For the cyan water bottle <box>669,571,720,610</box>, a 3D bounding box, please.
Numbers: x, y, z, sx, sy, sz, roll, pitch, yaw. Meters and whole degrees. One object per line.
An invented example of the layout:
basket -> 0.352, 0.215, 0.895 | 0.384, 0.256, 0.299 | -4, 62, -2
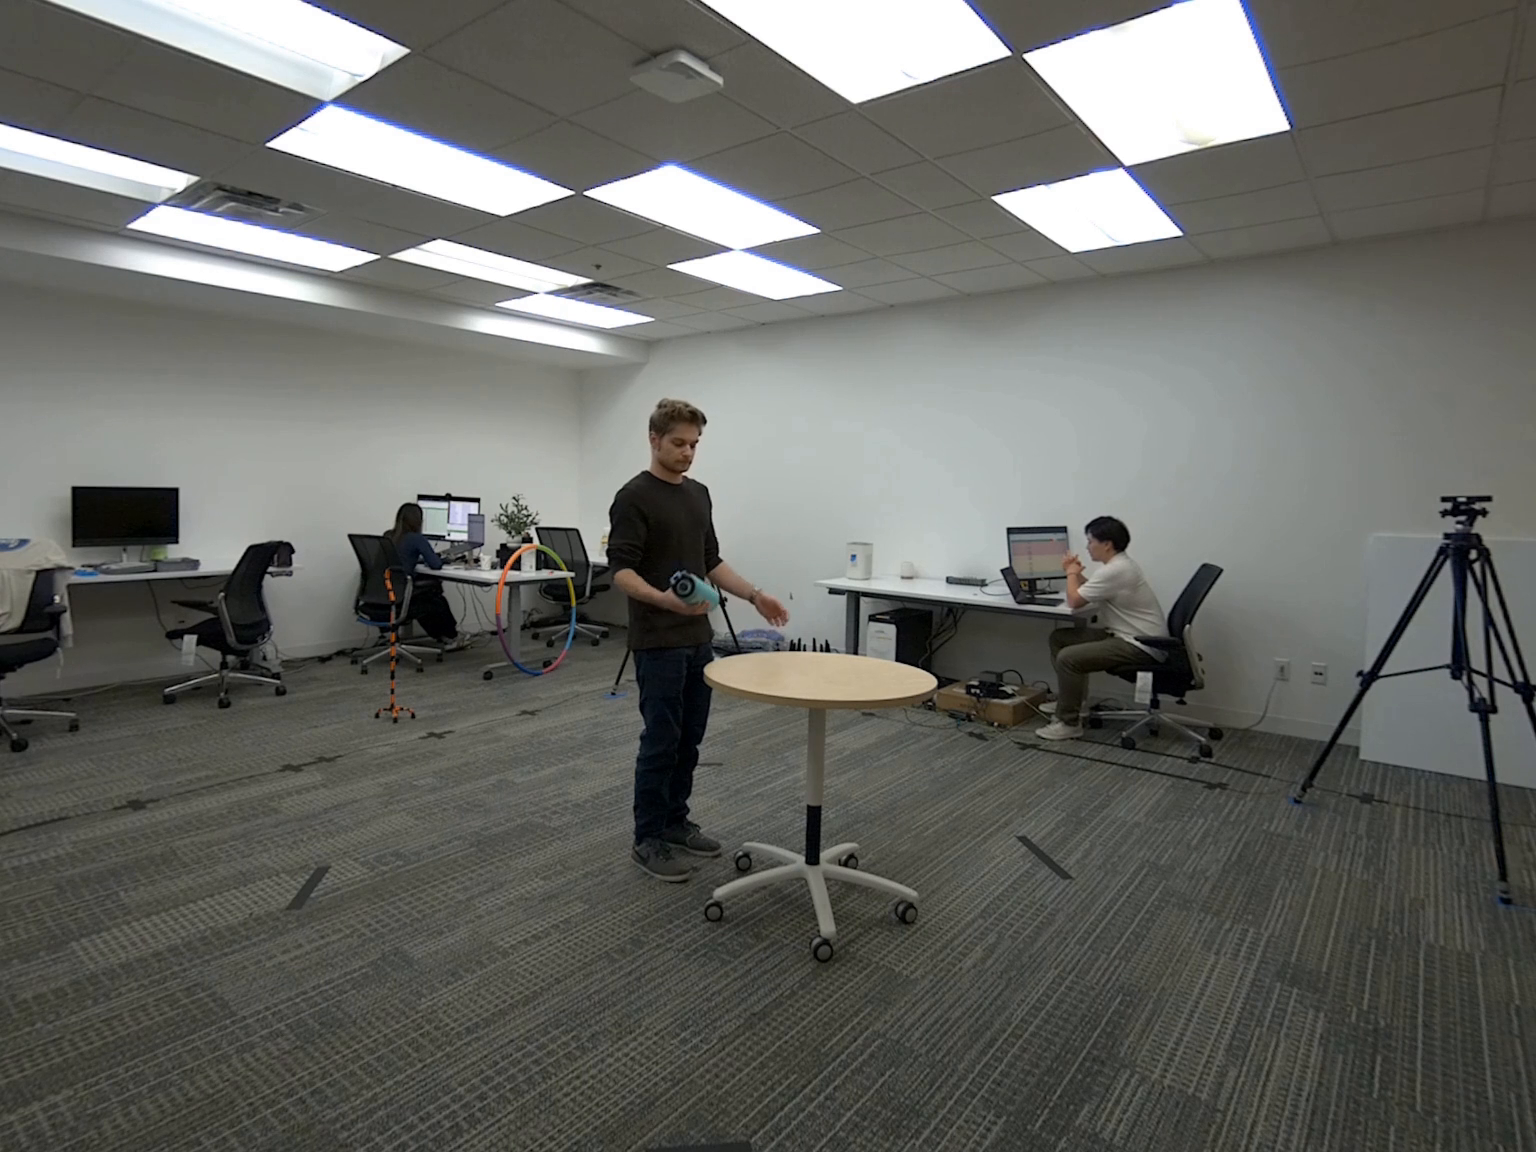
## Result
cyan water bottle -> -0.241, 0.032, 2.772 | 0.094, 0.093, 0.275 | 2, -13, 14
